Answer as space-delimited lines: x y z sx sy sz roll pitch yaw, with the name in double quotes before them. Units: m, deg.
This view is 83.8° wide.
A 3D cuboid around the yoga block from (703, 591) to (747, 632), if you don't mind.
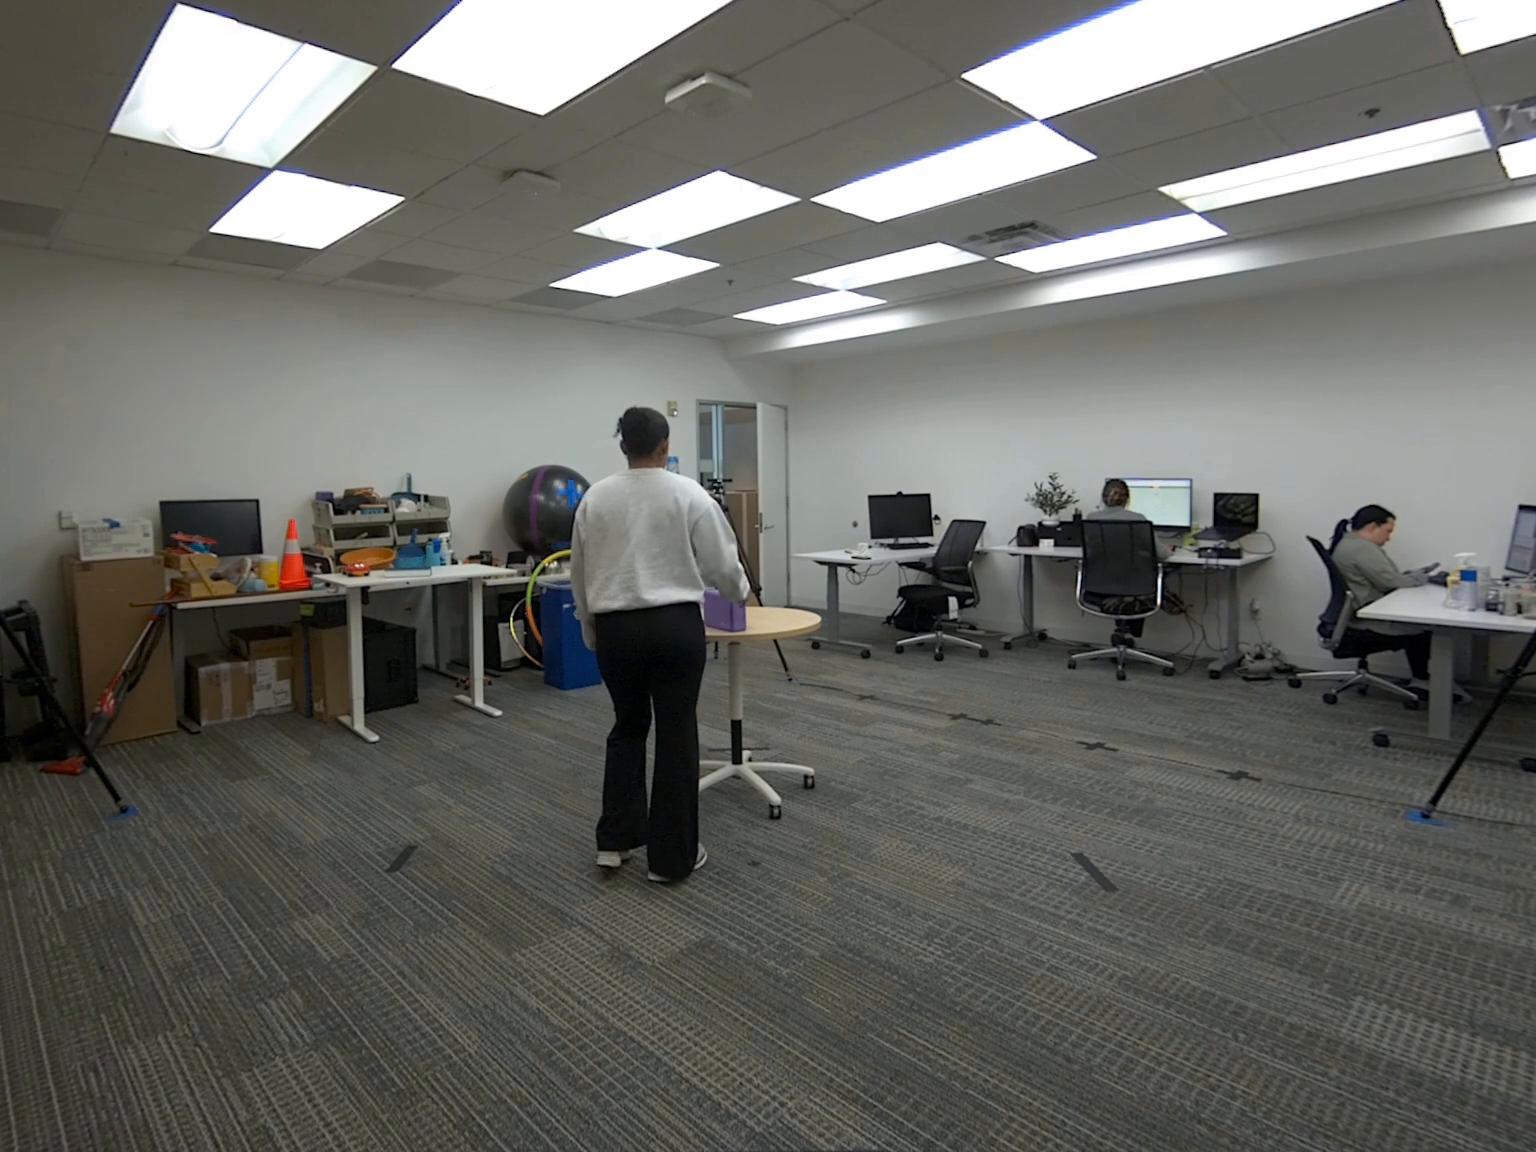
"yoga block" -0.180 0.141 3.534 0.074 0.148 0.236 -3 6 -33
